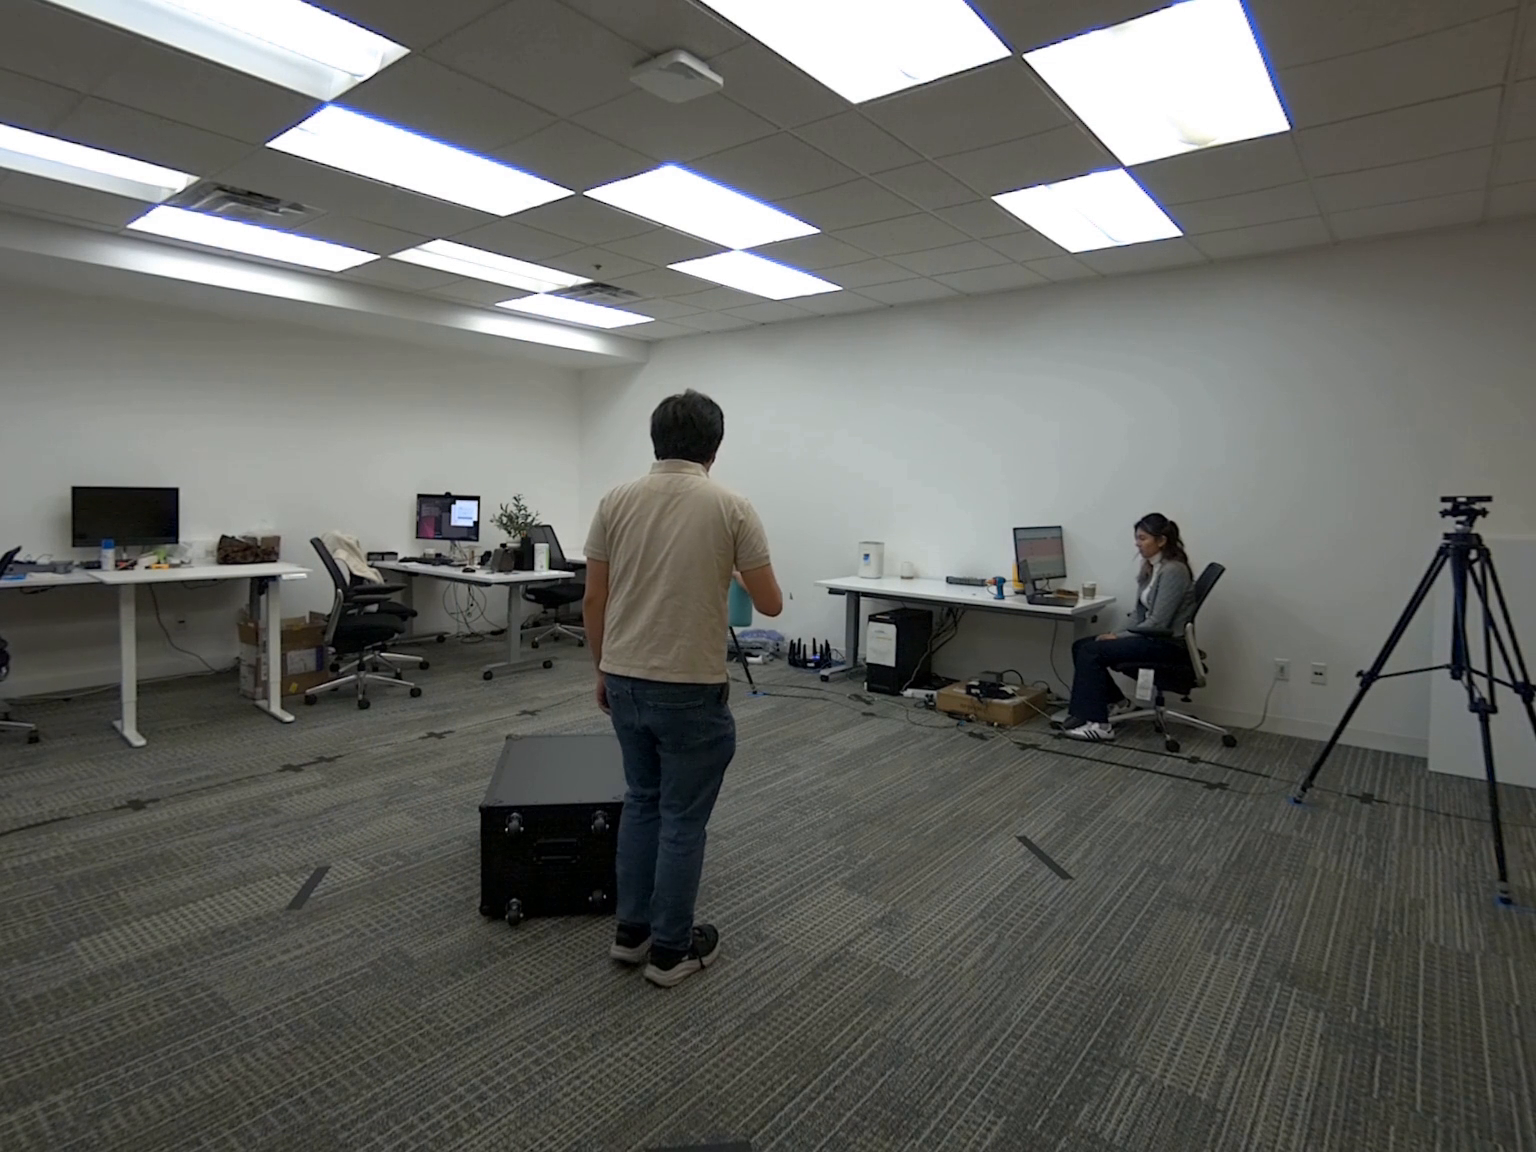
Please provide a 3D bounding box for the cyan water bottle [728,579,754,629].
[{"bbox_3d":[-0.095,0.011,2.711,0.092,0.282,0.093,4,3,-2],"label":"cyan water bottle"}]
